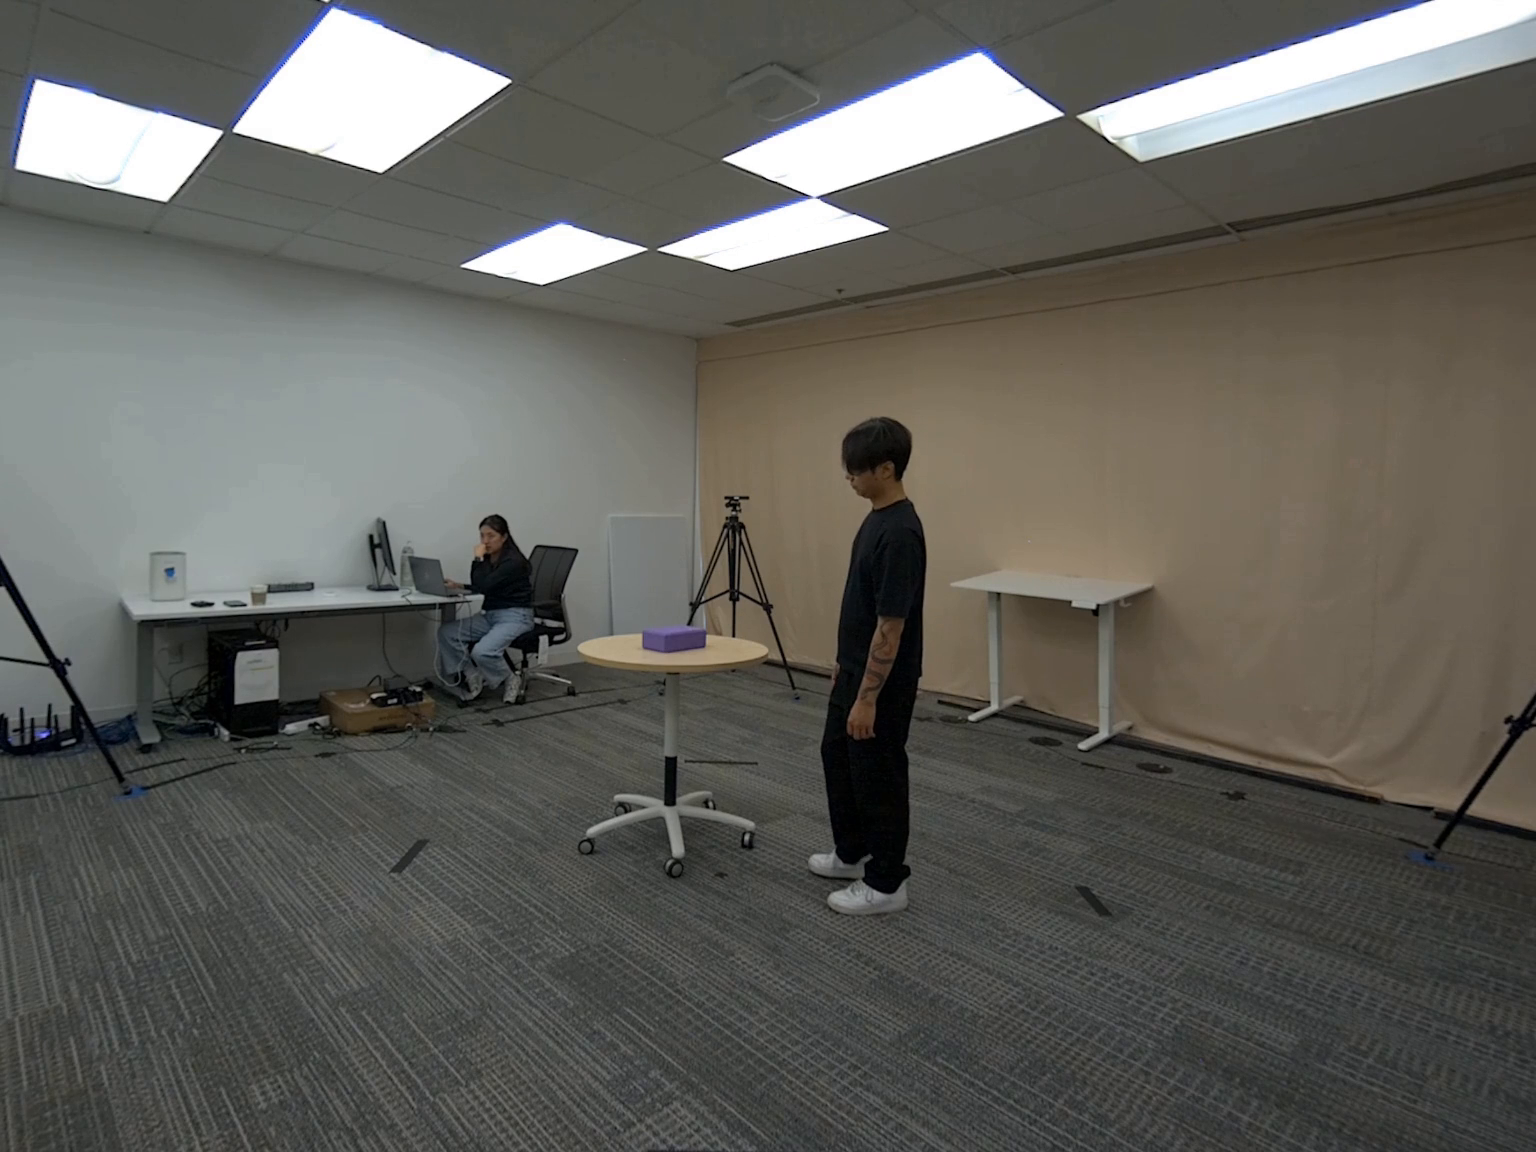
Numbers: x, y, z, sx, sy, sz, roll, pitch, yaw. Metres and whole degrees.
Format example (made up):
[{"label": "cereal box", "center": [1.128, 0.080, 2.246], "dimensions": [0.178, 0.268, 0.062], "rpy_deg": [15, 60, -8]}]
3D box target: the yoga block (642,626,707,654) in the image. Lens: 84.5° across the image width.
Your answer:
[{"label": "yoga block", "center": [-0.382, 0.251, 3.381], "dimensions": [0.153, 0.076, 0.224], "rpy_deg": [4, 5, 41]}]
